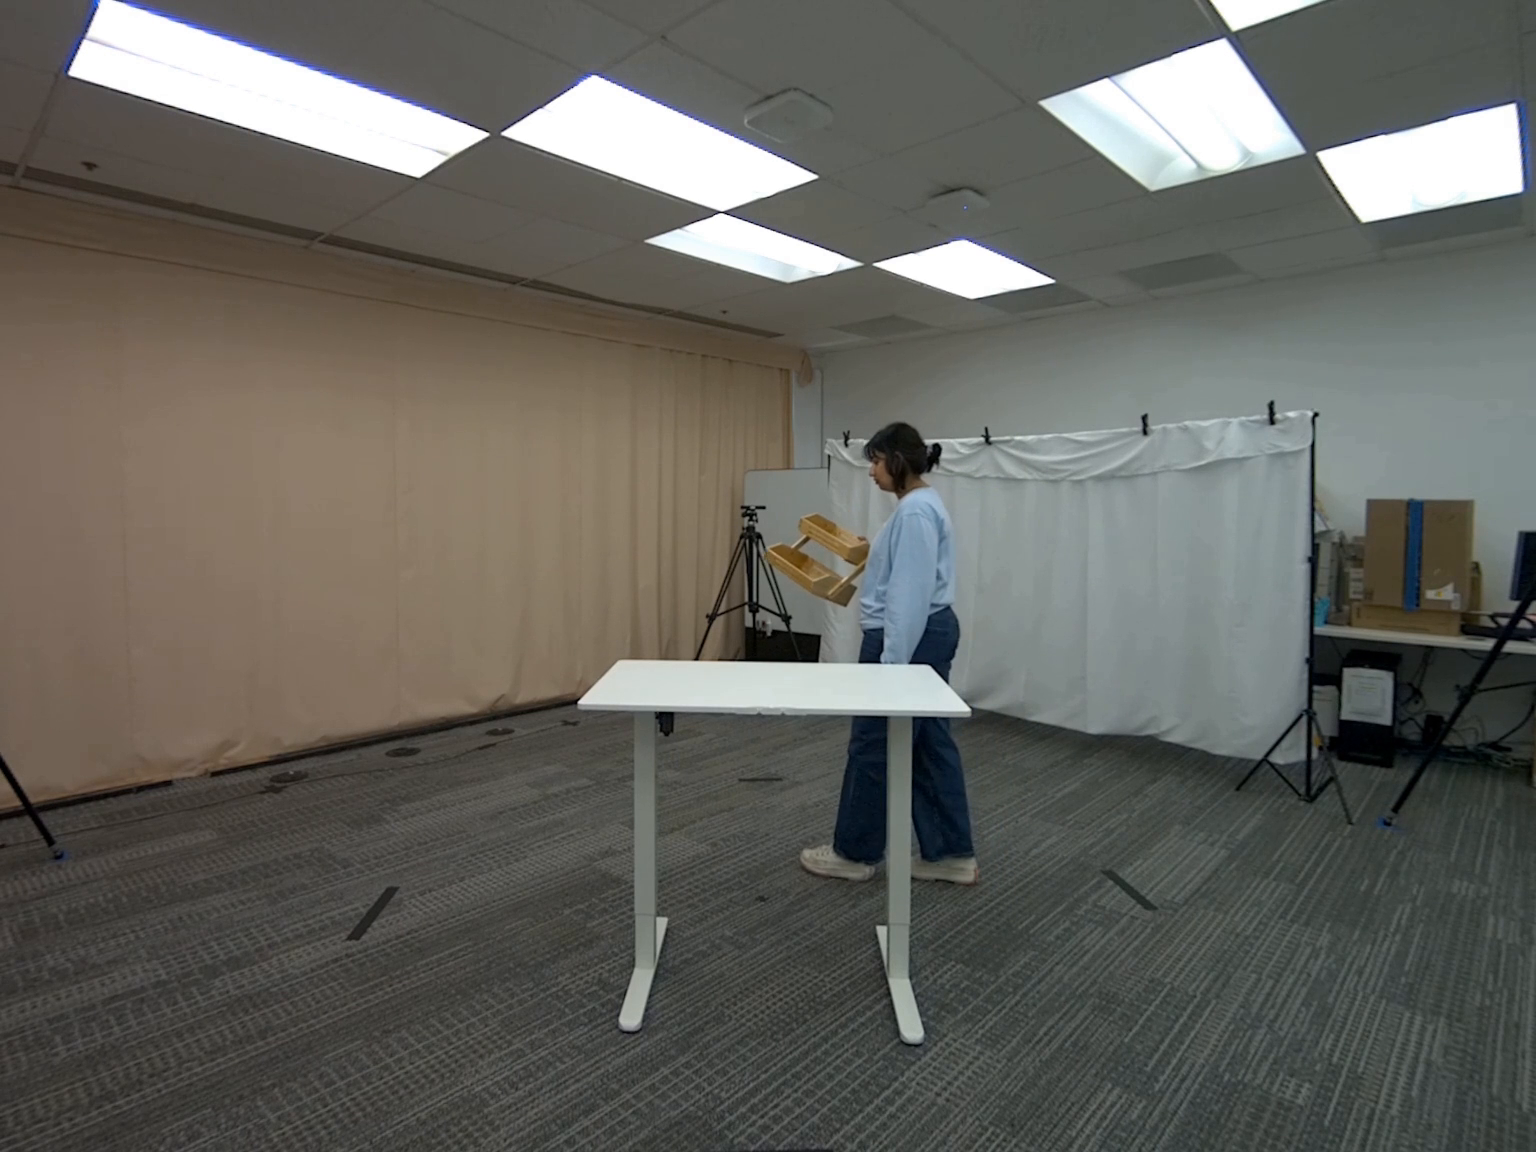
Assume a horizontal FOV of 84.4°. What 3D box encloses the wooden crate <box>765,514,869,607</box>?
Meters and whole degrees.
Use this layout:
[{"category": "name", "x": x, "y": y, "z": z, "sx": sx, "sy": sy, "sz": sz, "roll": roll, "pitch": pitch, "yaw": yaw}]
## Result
[{"category": "wooden crate", "x": 0.223, "y": -0.084, "z": 3.339, "sx": 0.291, "sy": 0.273, "sz": 0.336, "roll": 23, "pitch": 9, "yaw": -46}]
